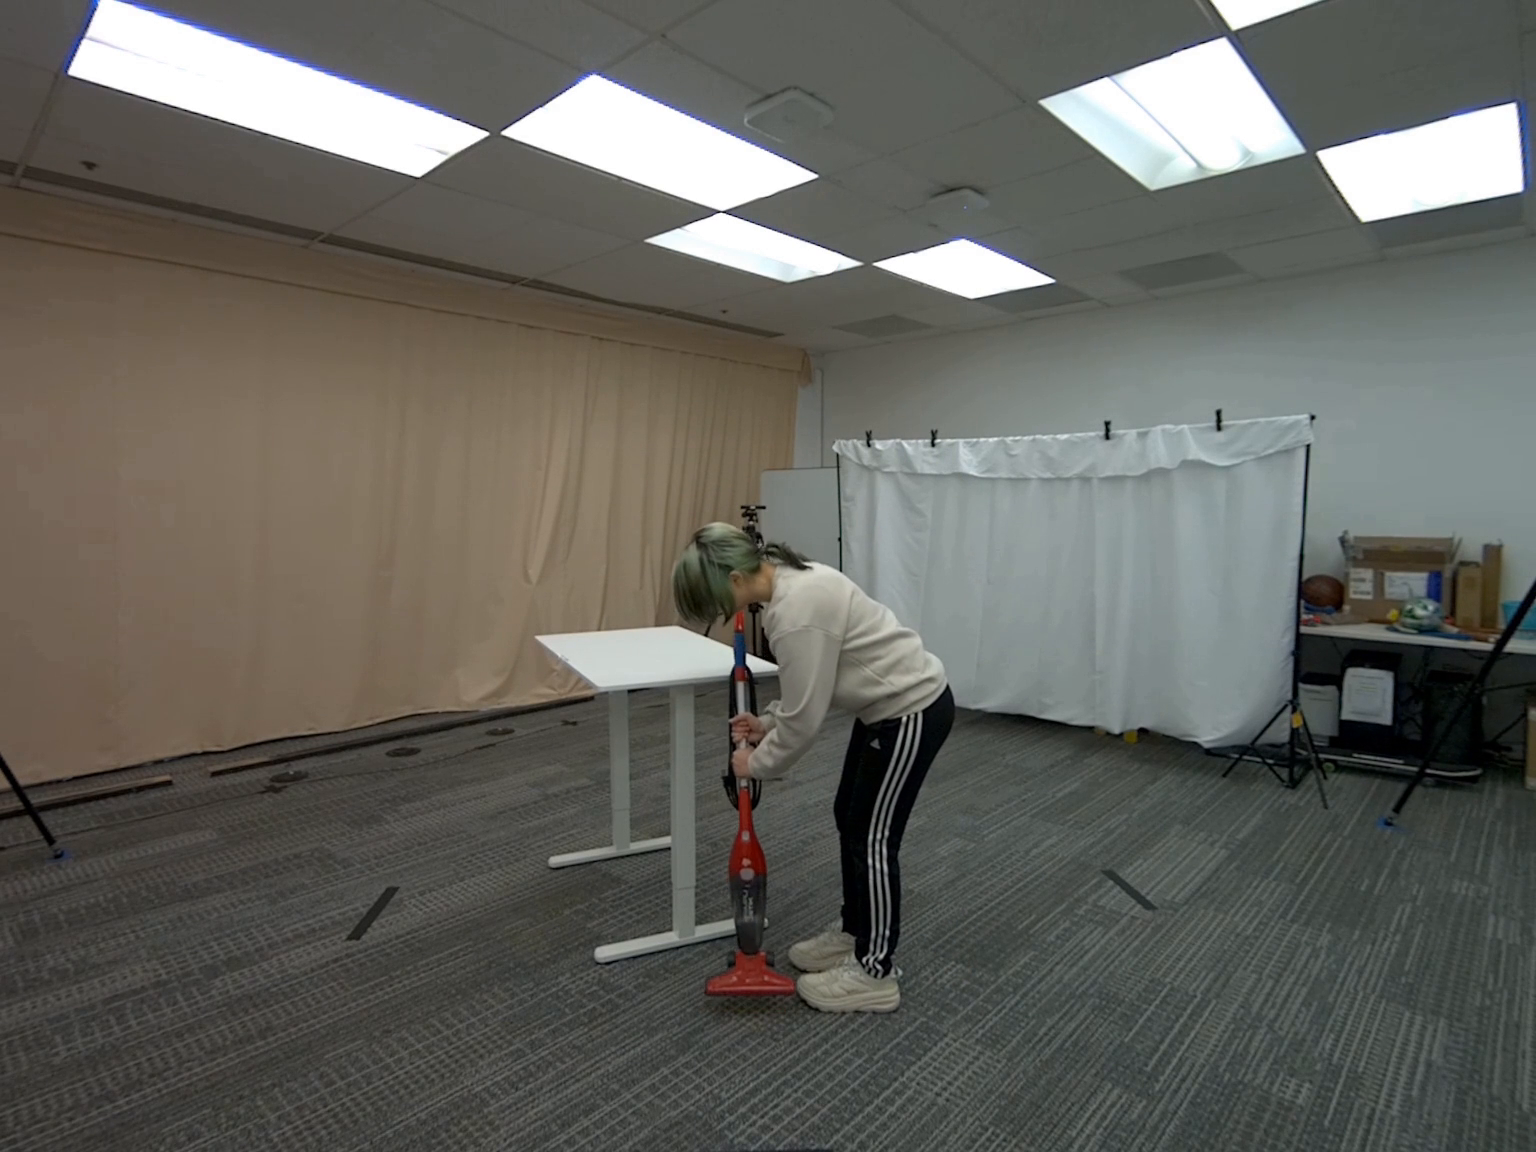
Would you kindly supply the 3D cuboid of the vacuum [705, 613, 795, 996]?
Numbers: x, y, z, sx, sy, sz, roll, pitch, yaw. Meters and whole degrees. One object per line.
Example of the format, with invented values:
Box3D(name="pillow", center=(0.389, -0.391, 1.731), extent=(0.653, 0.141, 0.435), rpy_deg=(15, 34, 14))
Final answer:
Box3D(name="vacuum", center=(-0.062, 0.613, 2.451), extent=(0.253, 1.058, 0.142), rpy_deg=(-3, -12, 2))
